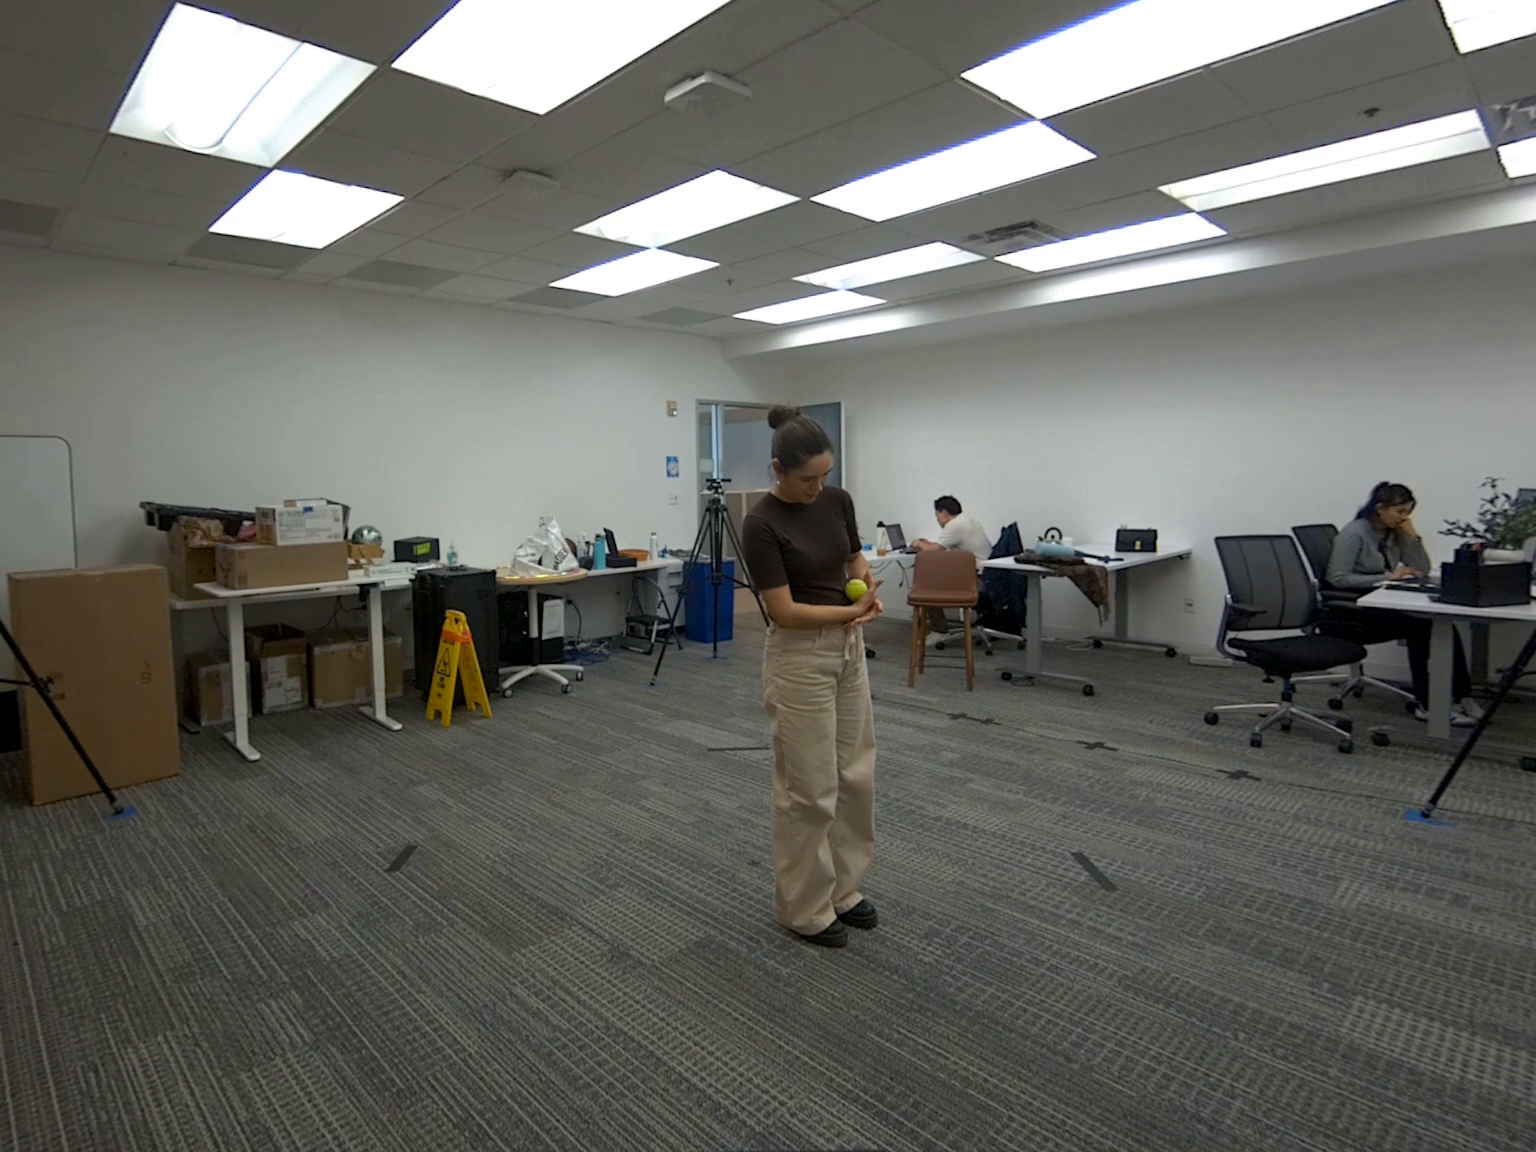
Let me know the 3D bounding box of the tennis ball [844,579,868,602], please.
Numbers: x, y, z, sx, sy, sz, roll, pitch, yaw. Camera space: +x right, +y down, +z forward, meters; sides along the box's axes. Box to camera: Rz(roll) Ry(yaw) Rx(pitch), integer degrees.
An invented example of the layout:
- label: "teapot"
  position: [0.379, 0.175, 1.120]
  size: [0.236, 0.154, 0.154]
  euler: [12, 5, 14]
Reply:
- label: "tennis ball"
  position: [0.259, 0.041, 2.586]
  size: [0.066, 0.066, 0.067]
  euler: [-1, 5, -2]
